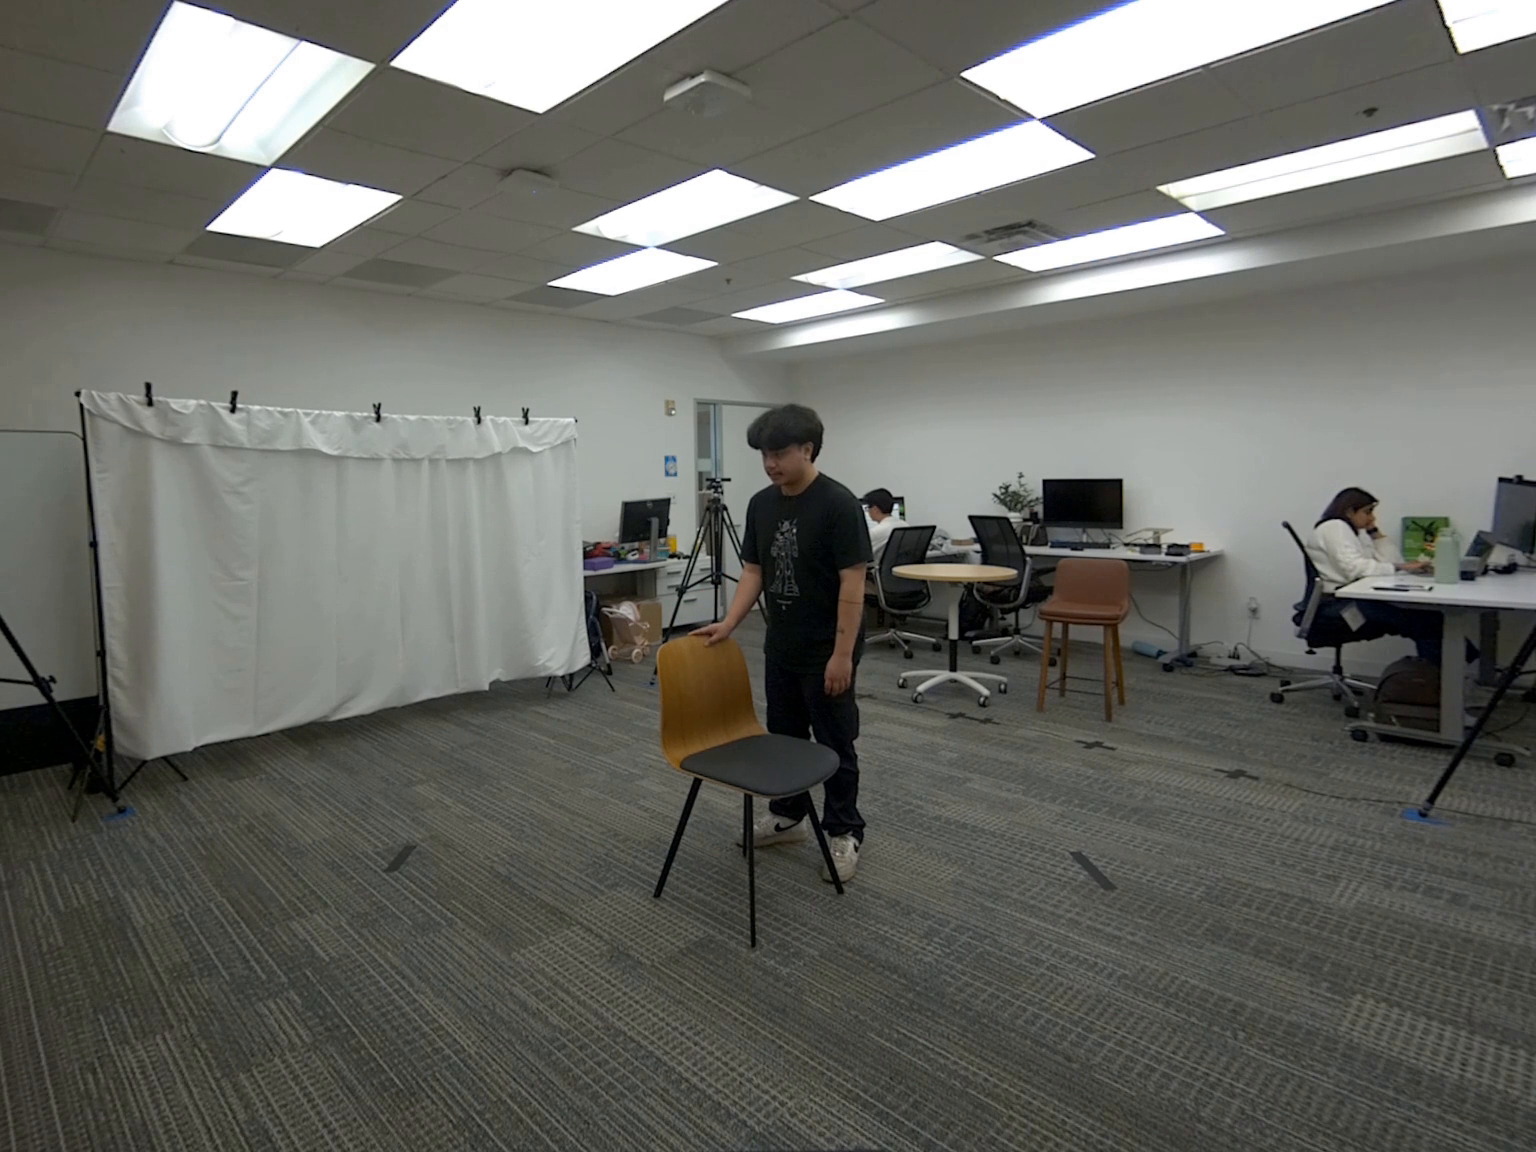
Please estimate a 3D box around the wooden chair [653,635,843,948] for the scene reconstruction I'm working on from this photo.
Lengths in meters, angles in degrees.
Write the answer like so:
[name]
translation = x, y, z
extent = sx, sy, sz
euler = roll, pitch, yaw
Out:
[wooden chair]
translation = -0.066, 0.648, 2.820
extent = 0.538, 0.877, 0.465
euler = -3, 1, 44
